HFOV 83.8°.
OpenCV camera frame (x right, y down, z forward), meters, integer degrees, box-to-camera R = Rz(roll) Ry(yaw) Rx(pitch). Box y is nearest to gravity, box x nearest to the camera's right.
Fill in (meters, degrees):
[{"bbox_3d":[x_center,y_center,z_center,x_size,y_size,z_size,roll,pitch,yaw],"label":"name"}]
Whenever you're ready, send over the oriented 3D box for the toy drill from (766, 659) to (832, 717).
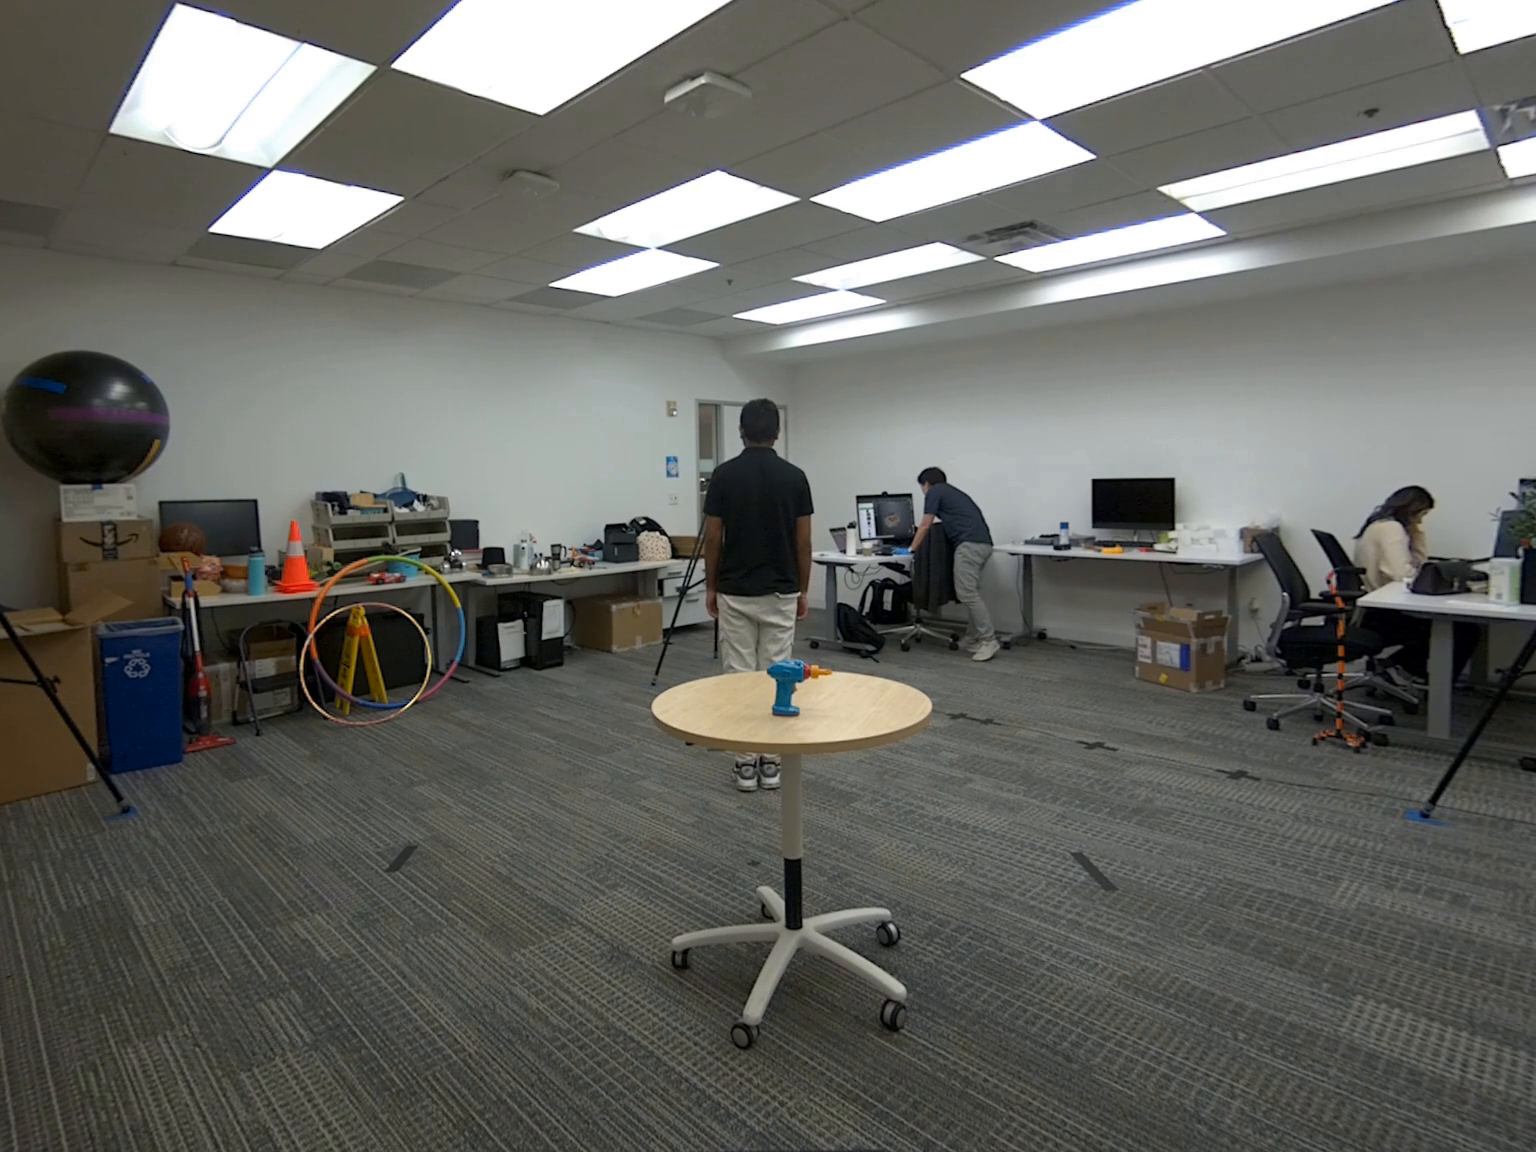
[{"bbox_3d":[0.093,0.289,2.217,0.171,0.145,0.061,-2,3,6],"label":"toy drill"}]
